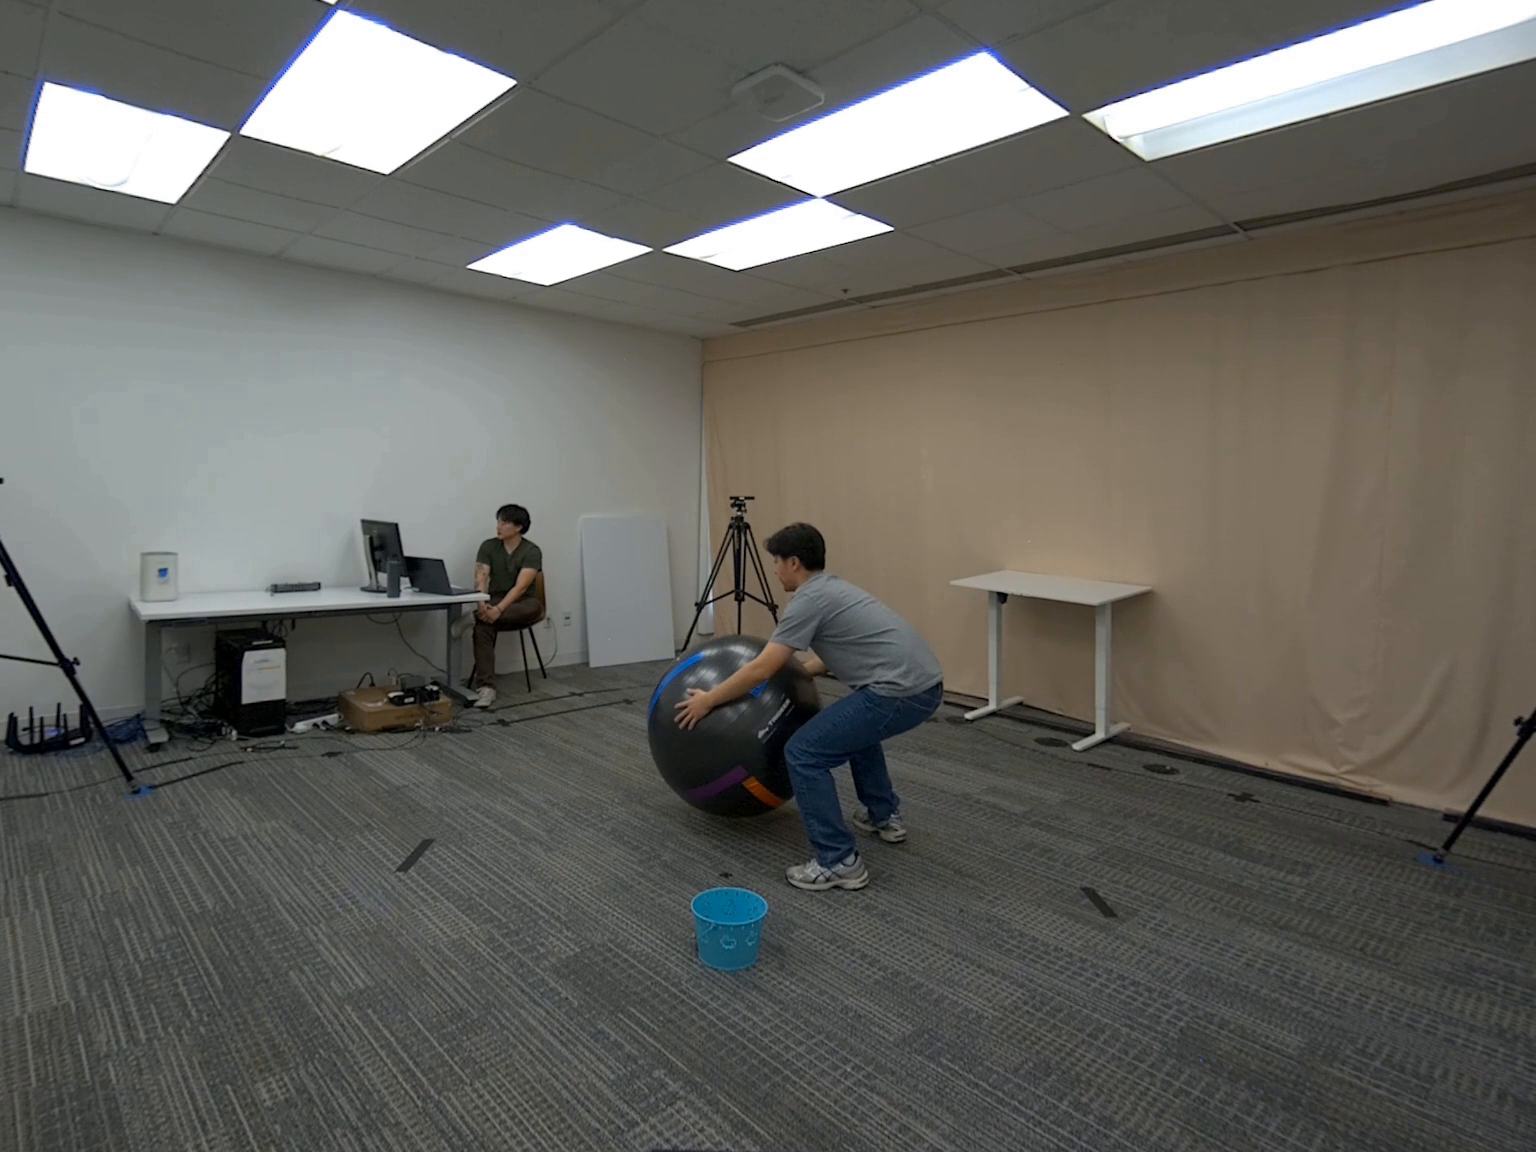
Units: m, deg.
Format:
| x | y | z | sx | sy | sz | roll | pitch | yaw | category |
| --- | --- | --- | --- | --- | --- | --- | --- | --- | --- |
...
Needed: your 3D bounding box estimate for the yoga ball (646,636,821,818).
| x | y | z | sx | sy | sz | roll | pitch | yaw | category |
| --- | --- | --- | --- | --- | --- | --- | --- | --- | --- |
| -0.147 | 0.621 | 3.587 | 0.757 | 0.756 | 0.761 | 1 | 4 | -1 | yoga ball |
